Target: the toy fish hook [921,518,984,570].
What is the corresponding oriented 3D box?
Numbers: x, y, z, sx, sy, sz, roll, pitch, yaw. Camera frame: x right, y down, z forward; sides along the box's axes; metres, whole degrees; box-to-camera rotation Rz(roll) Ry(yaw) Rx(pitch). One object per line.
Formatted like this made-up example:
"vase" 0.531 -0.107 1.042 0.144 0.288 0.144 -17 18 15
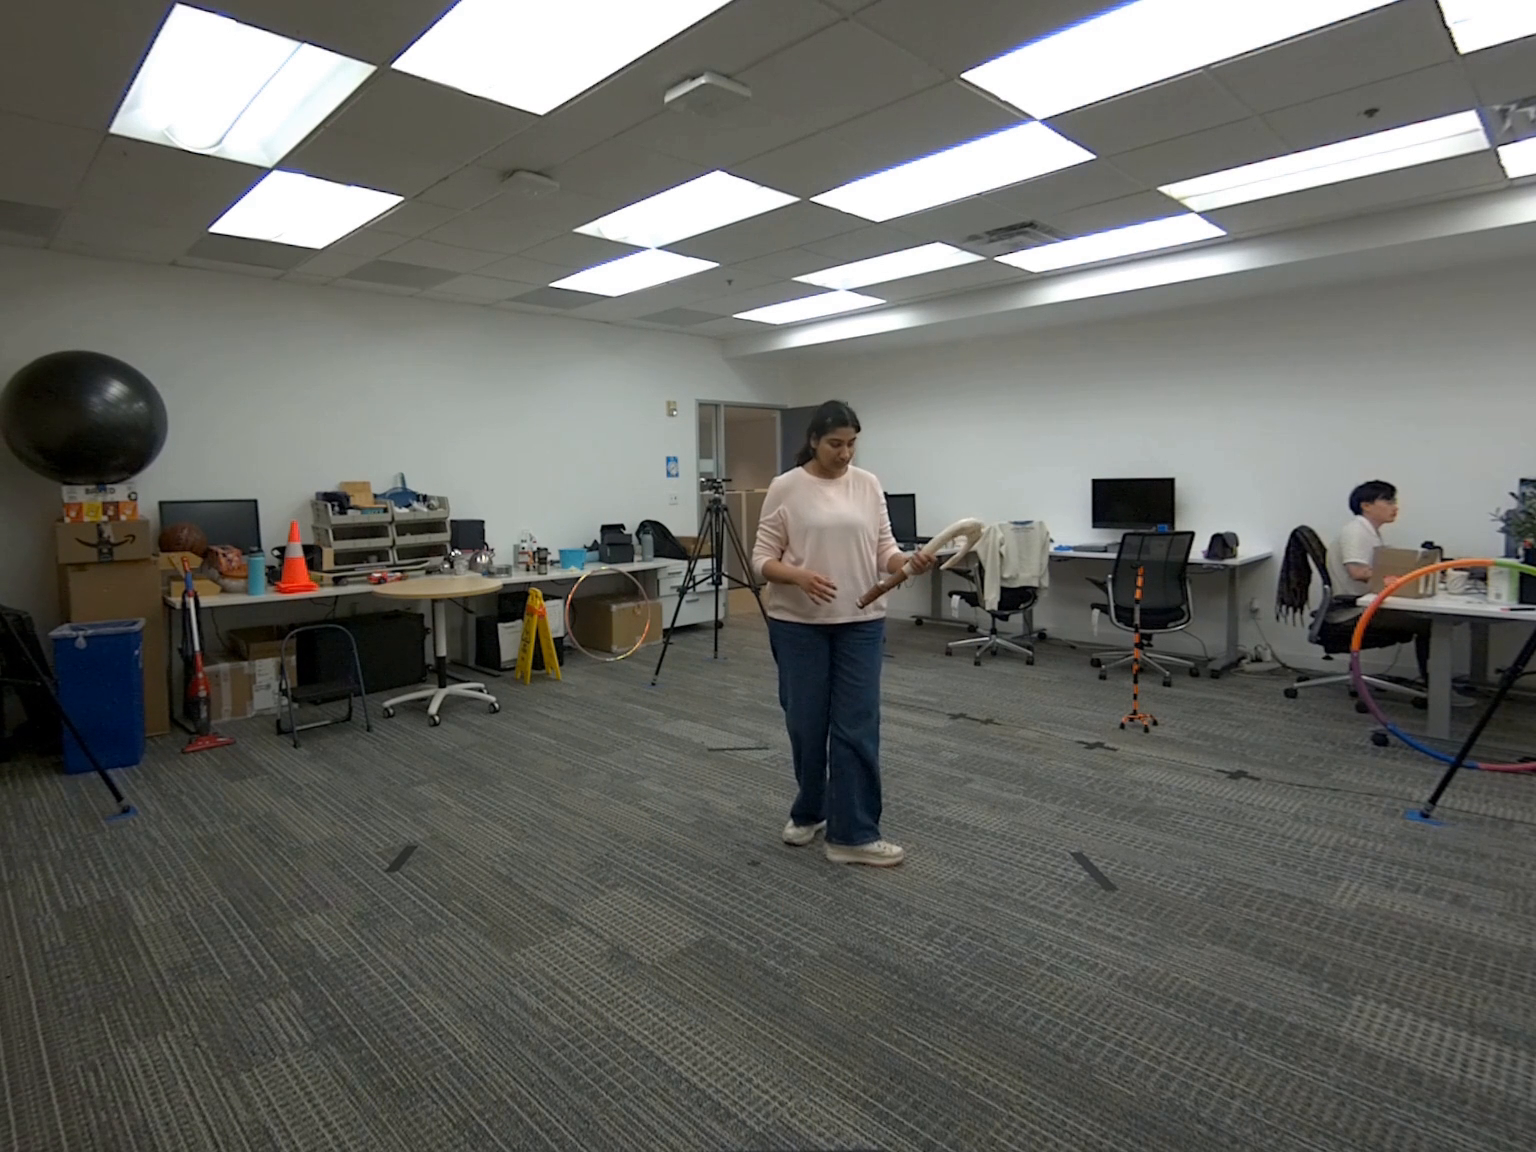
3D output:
"toy fish hook" 0.532 -0.020 2.975 0.507 0.050 0.216 -36 -40 7
